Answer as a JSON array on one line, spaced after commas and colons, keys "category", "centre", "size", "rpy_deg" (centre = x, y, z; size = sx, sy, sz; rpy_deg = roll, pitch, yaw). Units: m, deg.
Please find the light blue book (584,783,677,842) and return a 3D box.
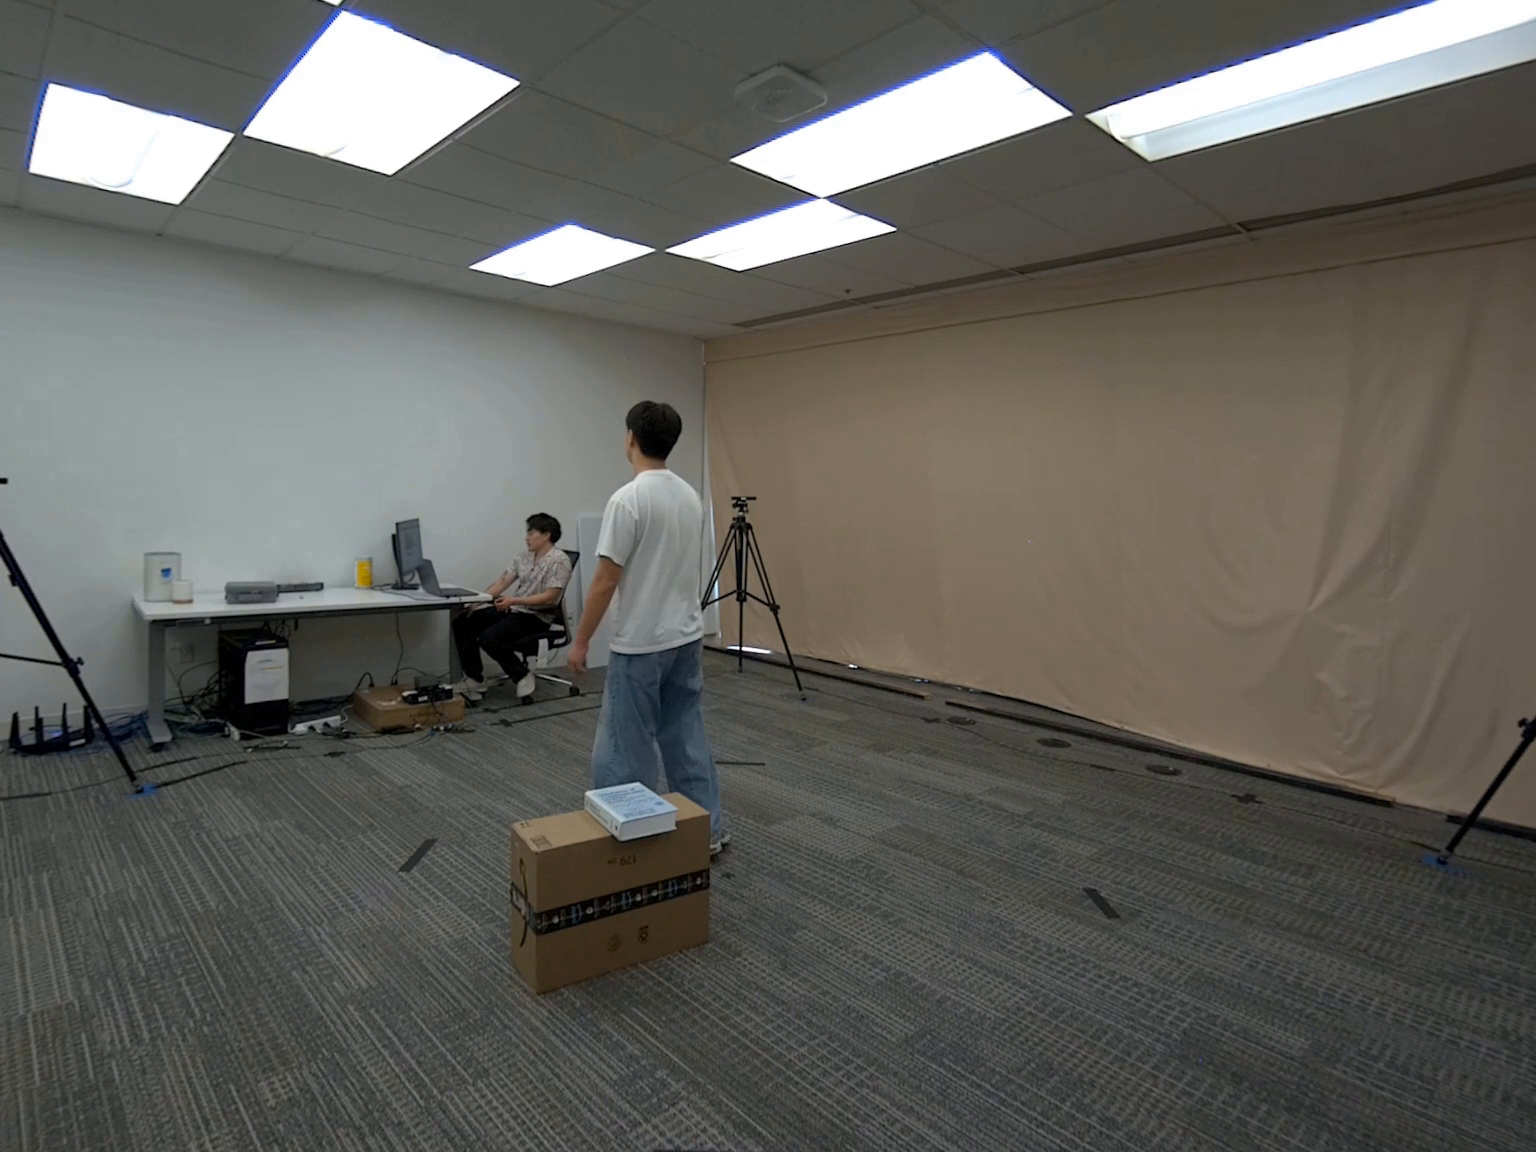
[{"category": "light blue book", "centre": [-0.431, 0.709, 2.534], "size": [0.187, 0.059, 0.267], "rpy_deg": [-1, 7, -34]}]
